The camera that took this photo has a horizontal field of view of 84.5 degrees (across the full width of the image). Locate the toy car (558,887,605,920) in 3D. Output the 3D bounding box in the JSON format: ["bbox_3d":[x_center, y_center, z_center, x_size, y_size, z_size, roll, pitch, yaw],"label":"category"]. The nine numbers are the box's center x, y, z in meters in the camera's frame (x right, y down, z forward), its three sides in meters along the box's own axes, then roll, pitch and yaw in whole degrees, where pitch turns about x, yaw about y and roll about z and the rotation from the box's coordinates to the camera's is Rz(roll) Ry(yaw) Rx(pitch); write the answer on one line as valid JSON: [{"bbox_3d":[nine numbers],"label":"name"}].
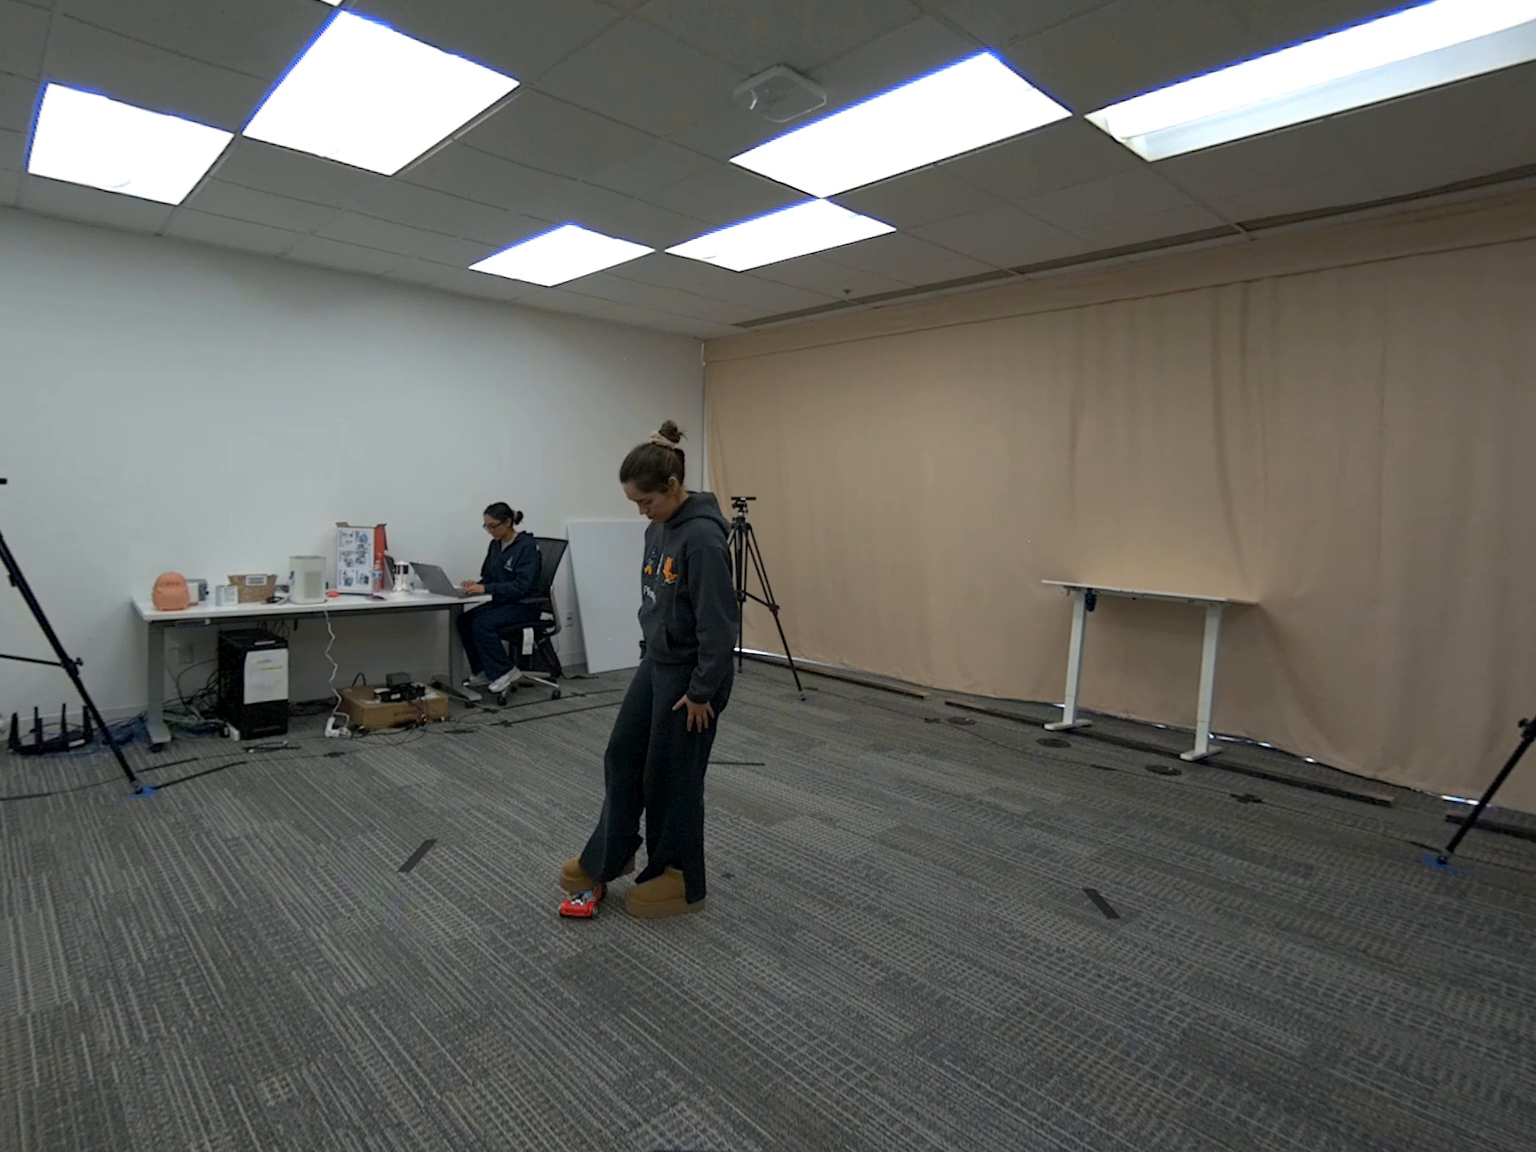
[{"bbox_3d":[-0.626,1.088,2.876,0.131,0.082,0.256,2,17,3],"label":"toy car"}]
